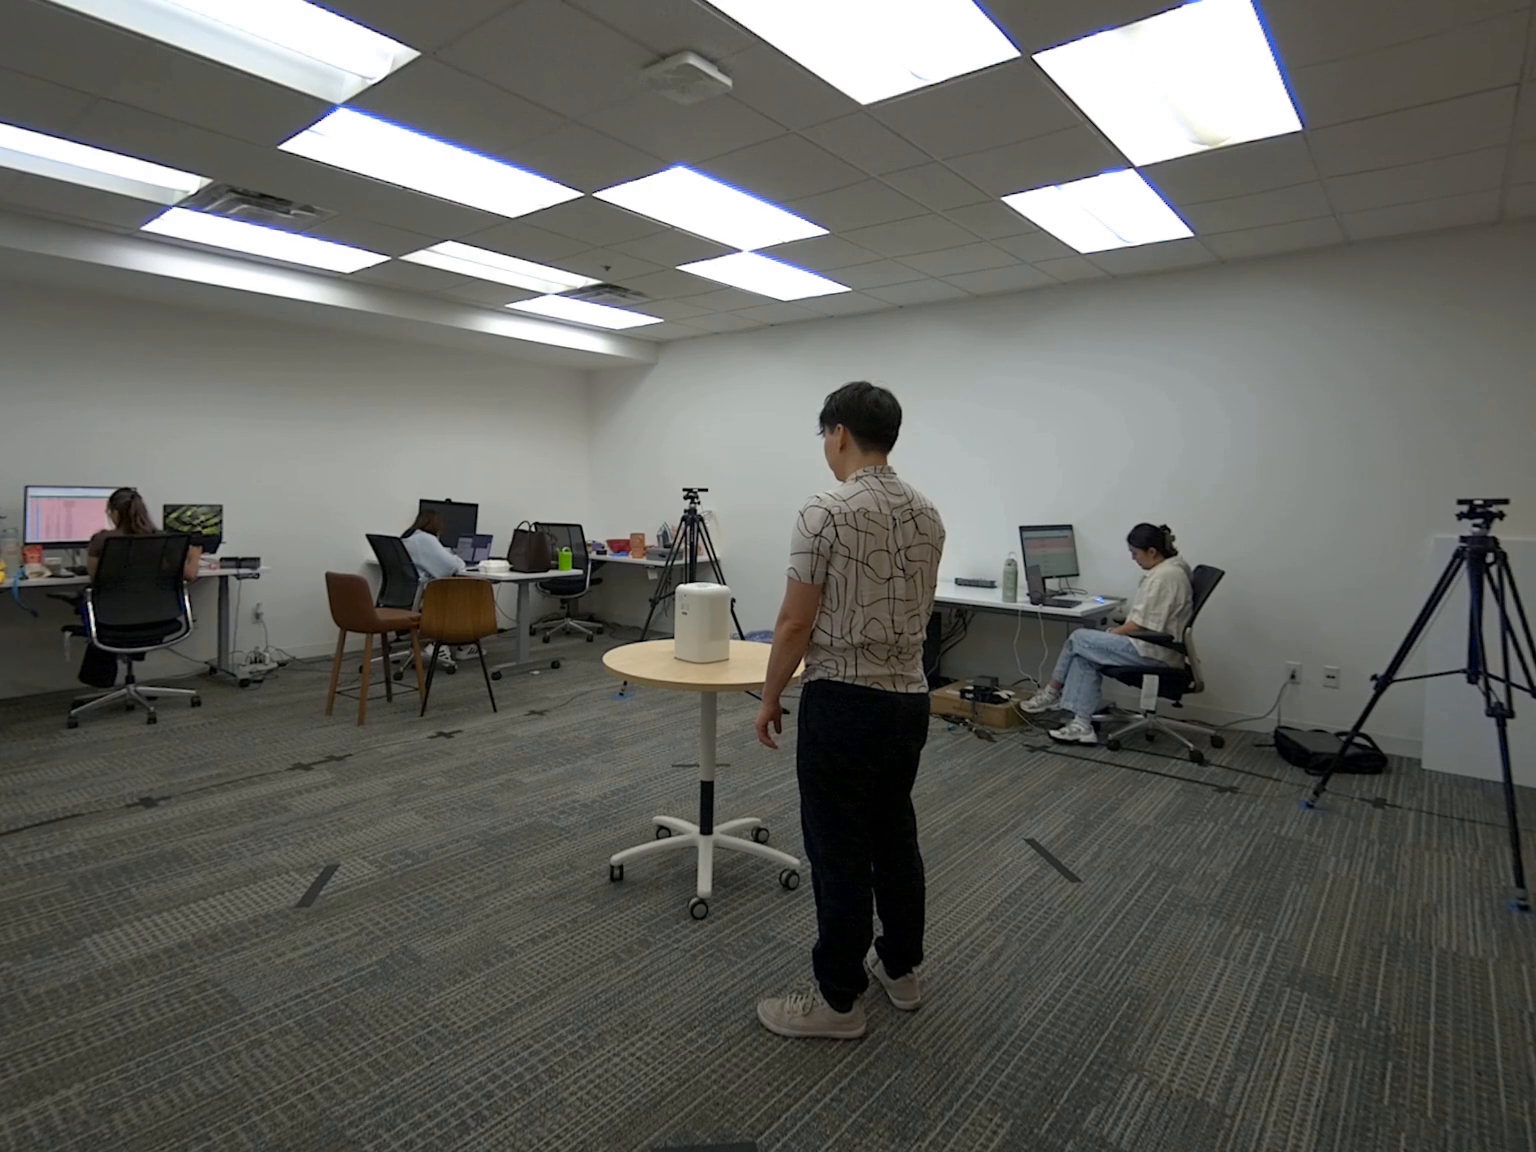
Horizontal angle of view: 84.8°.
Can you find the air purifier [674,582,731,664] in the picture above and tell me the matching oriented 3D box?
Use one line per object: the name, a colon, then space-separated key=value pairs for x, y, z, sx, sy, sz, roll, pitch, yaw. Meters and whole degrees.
air purifier: x=-0.248 y=0.158 z=3.053 sx=0.166 sy=0.264 sz=0.177 roll=-2 pitch=5 yaw=-43
